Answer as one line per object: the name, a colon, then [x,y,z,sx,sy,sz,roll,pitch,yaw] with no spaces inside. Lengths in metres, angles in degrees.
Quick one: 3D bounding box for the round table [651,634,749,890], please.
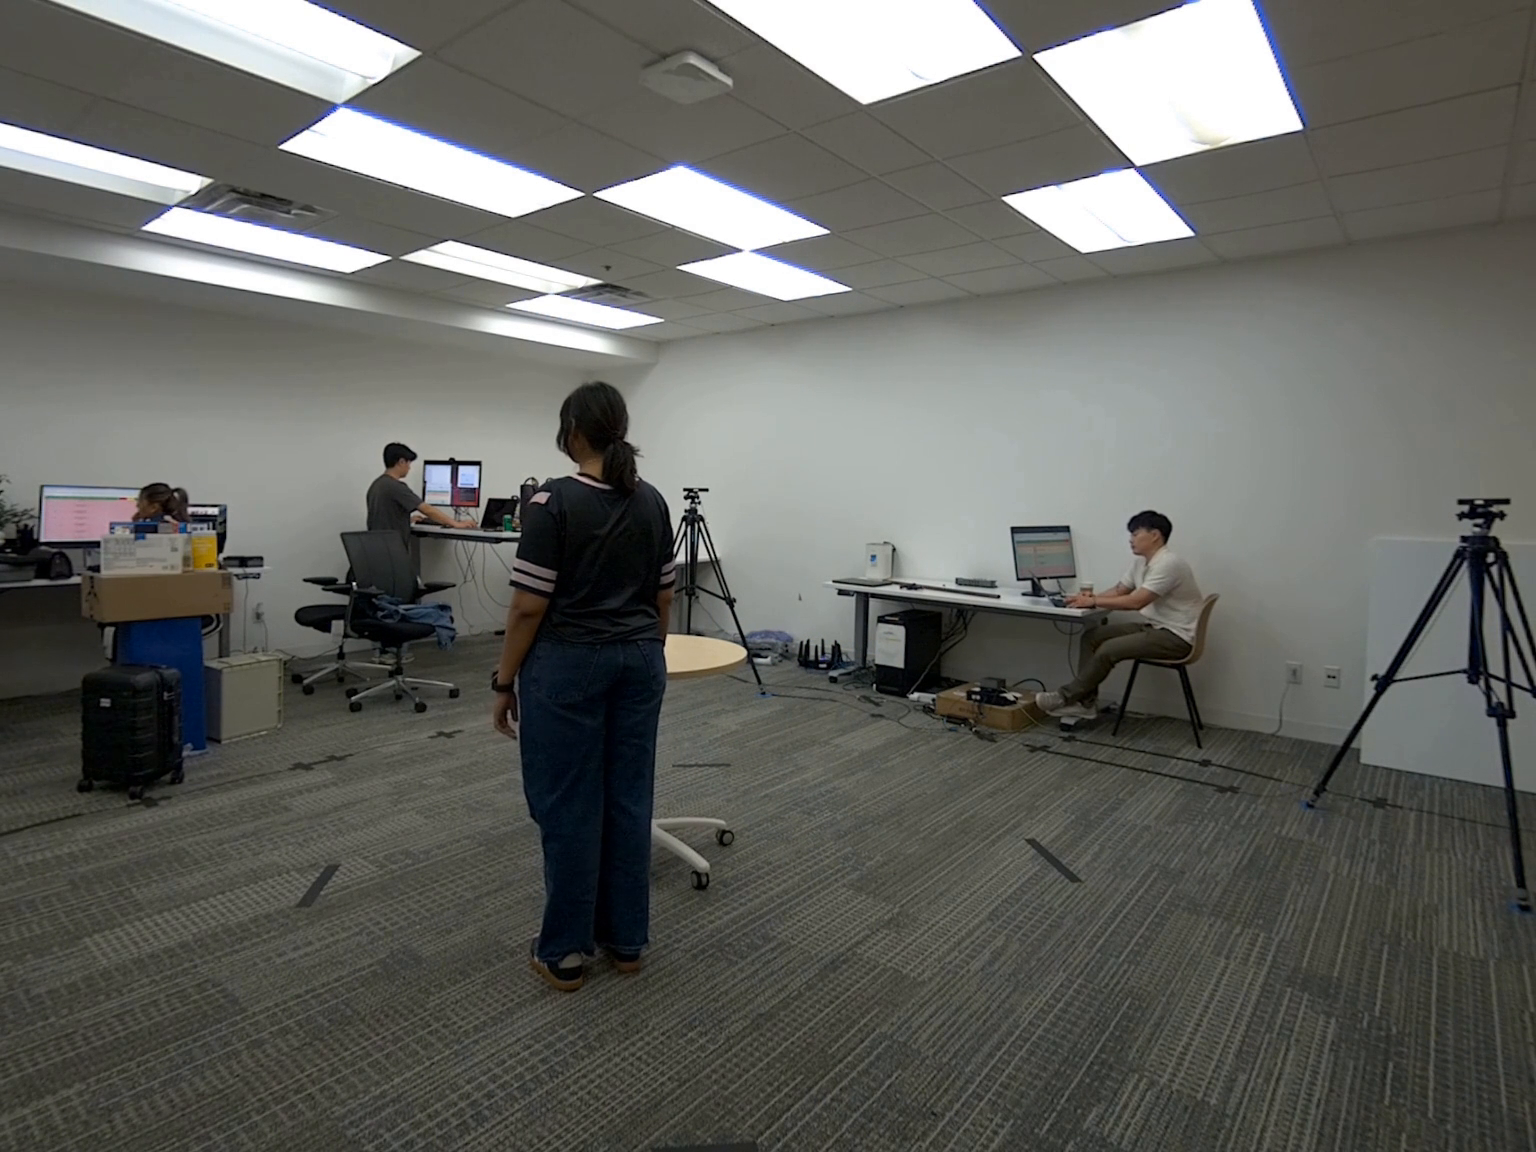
round table: [-0.466,0.671,3.167,0.763,0.791,0.767,0,4,-2]
